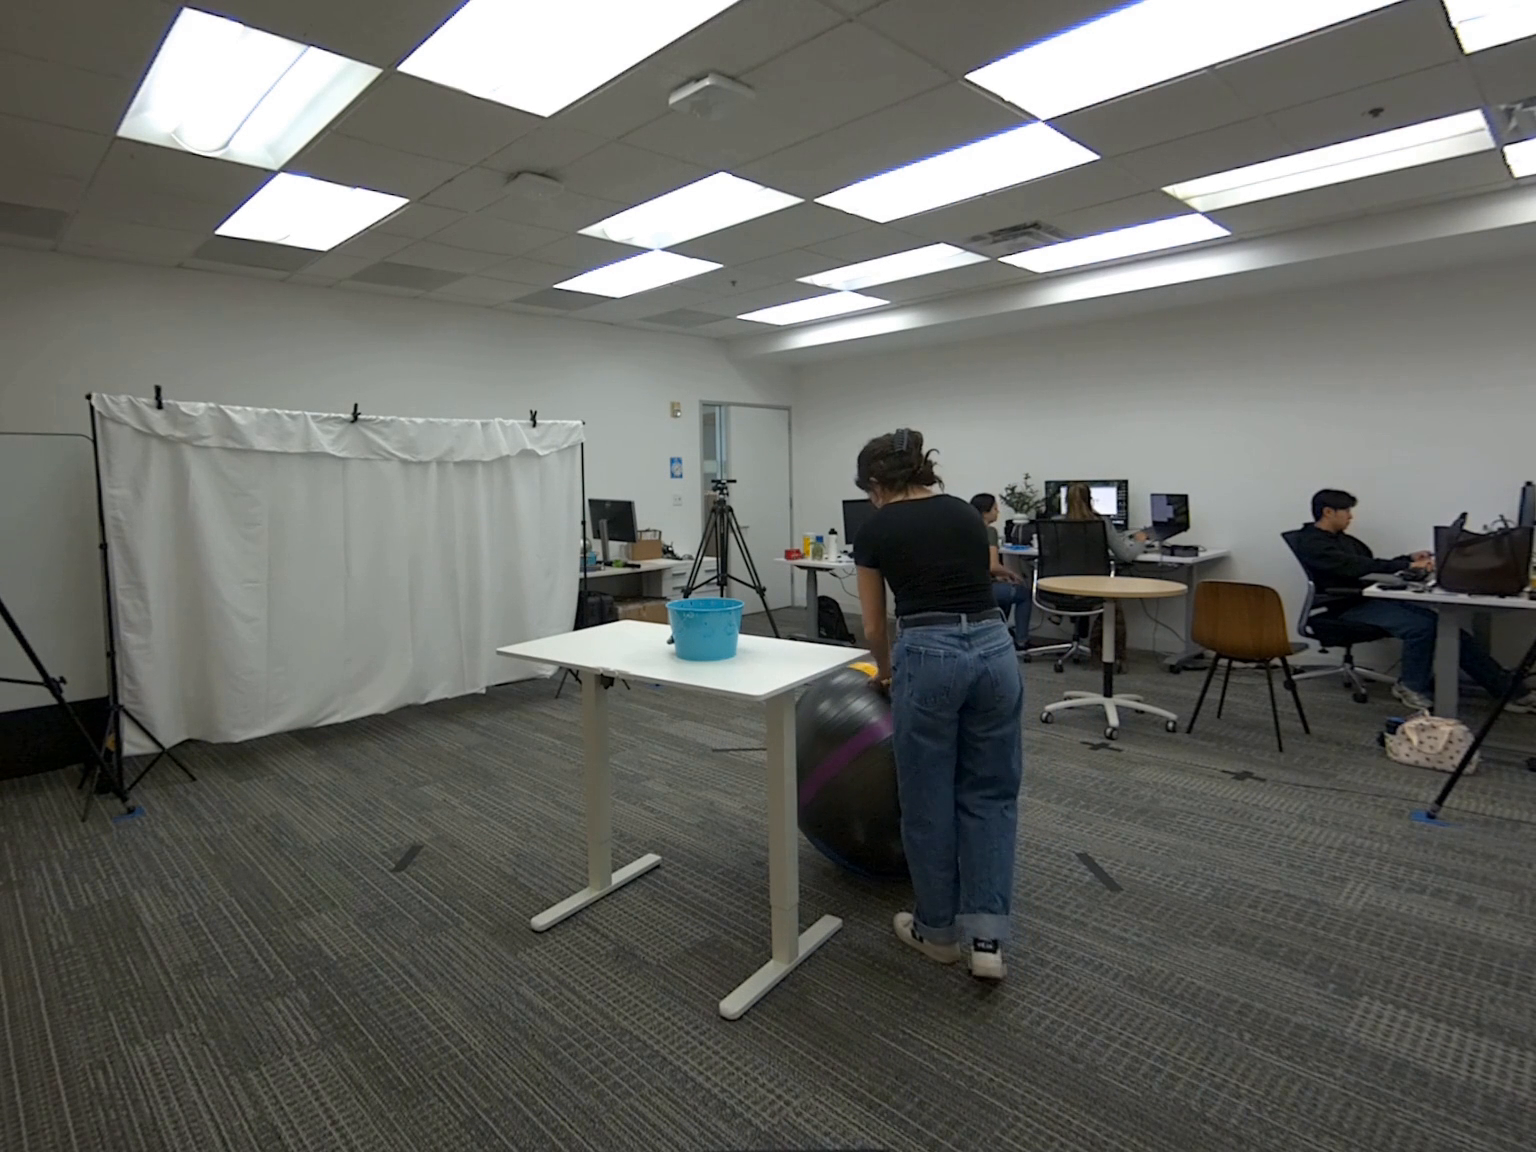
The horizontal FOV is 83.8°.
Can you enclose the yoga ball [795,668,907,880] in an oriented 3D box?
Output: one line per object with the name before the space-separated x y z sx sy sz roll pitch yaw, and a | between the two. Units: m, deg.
yoga ball | 0.431 0.682 3.039 0.757 0.755 0.762 -1 5 -2
